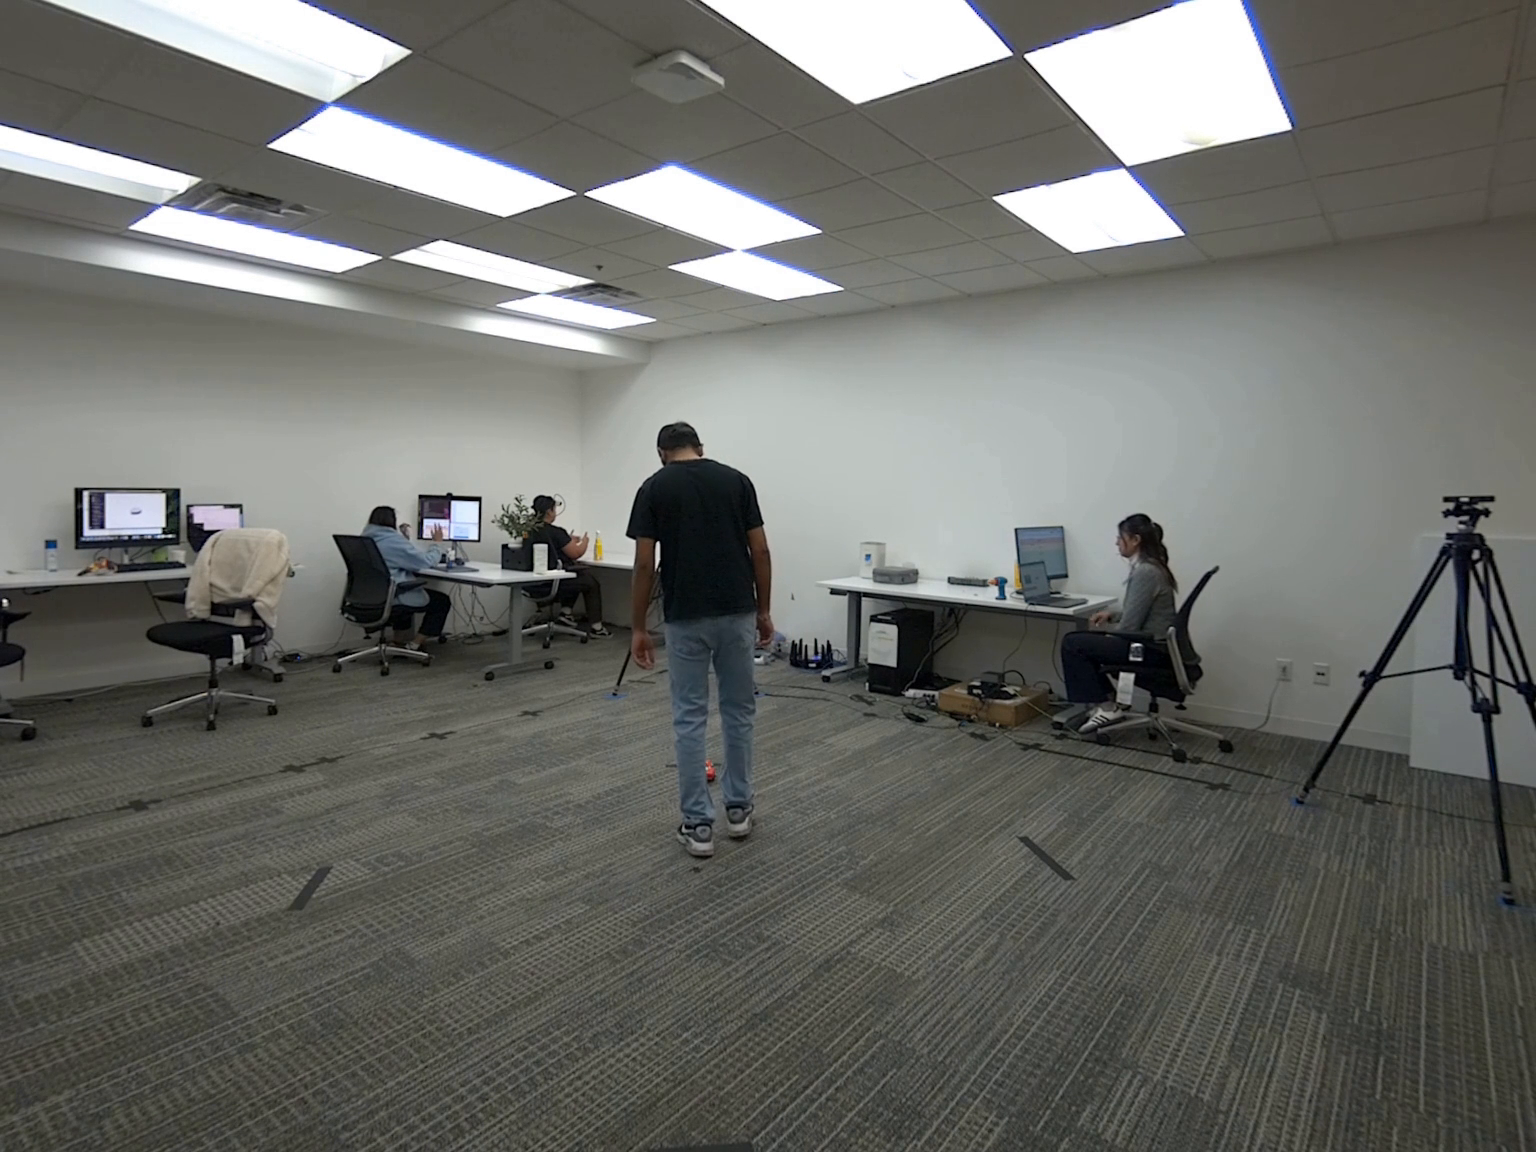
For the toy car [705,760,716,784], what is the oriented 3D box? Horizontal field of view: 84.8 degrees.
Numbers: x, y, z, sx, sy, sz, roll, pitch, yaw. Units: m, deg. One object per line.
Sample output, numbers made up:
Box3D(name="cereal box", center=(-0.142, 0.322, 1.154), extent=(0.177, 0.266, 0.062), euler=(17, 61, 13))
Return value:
Box3D(name="toy car", center=(-0.327, 0.935, 4.120), extent=(0.129, 0.084, 0.255), euler=(1, -5, -9))
